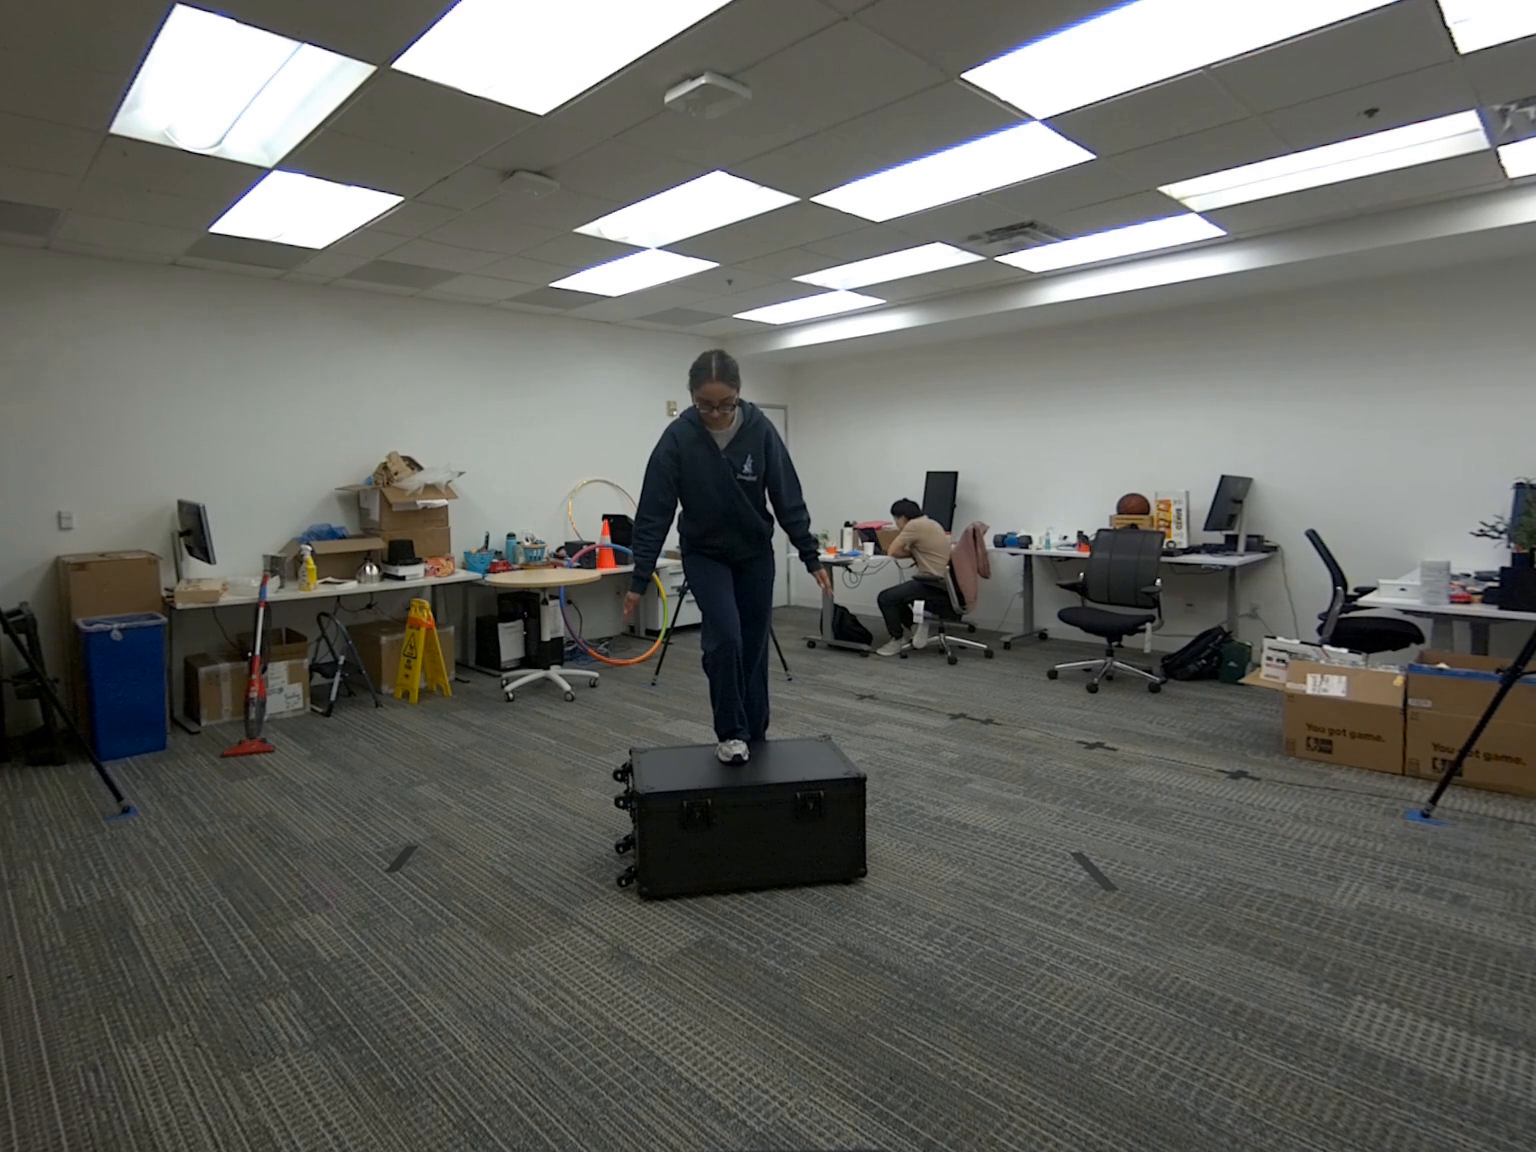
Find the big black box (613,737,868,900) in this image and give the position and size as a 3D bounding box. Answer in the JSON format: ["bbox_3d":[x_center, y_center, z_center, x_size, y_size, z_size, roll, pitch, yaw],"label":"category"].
[{"bbox_3d":[-0.127,0.857,3.094,0.854,0.395,0.528,-2,5,-10],"label":"big black box"}]
